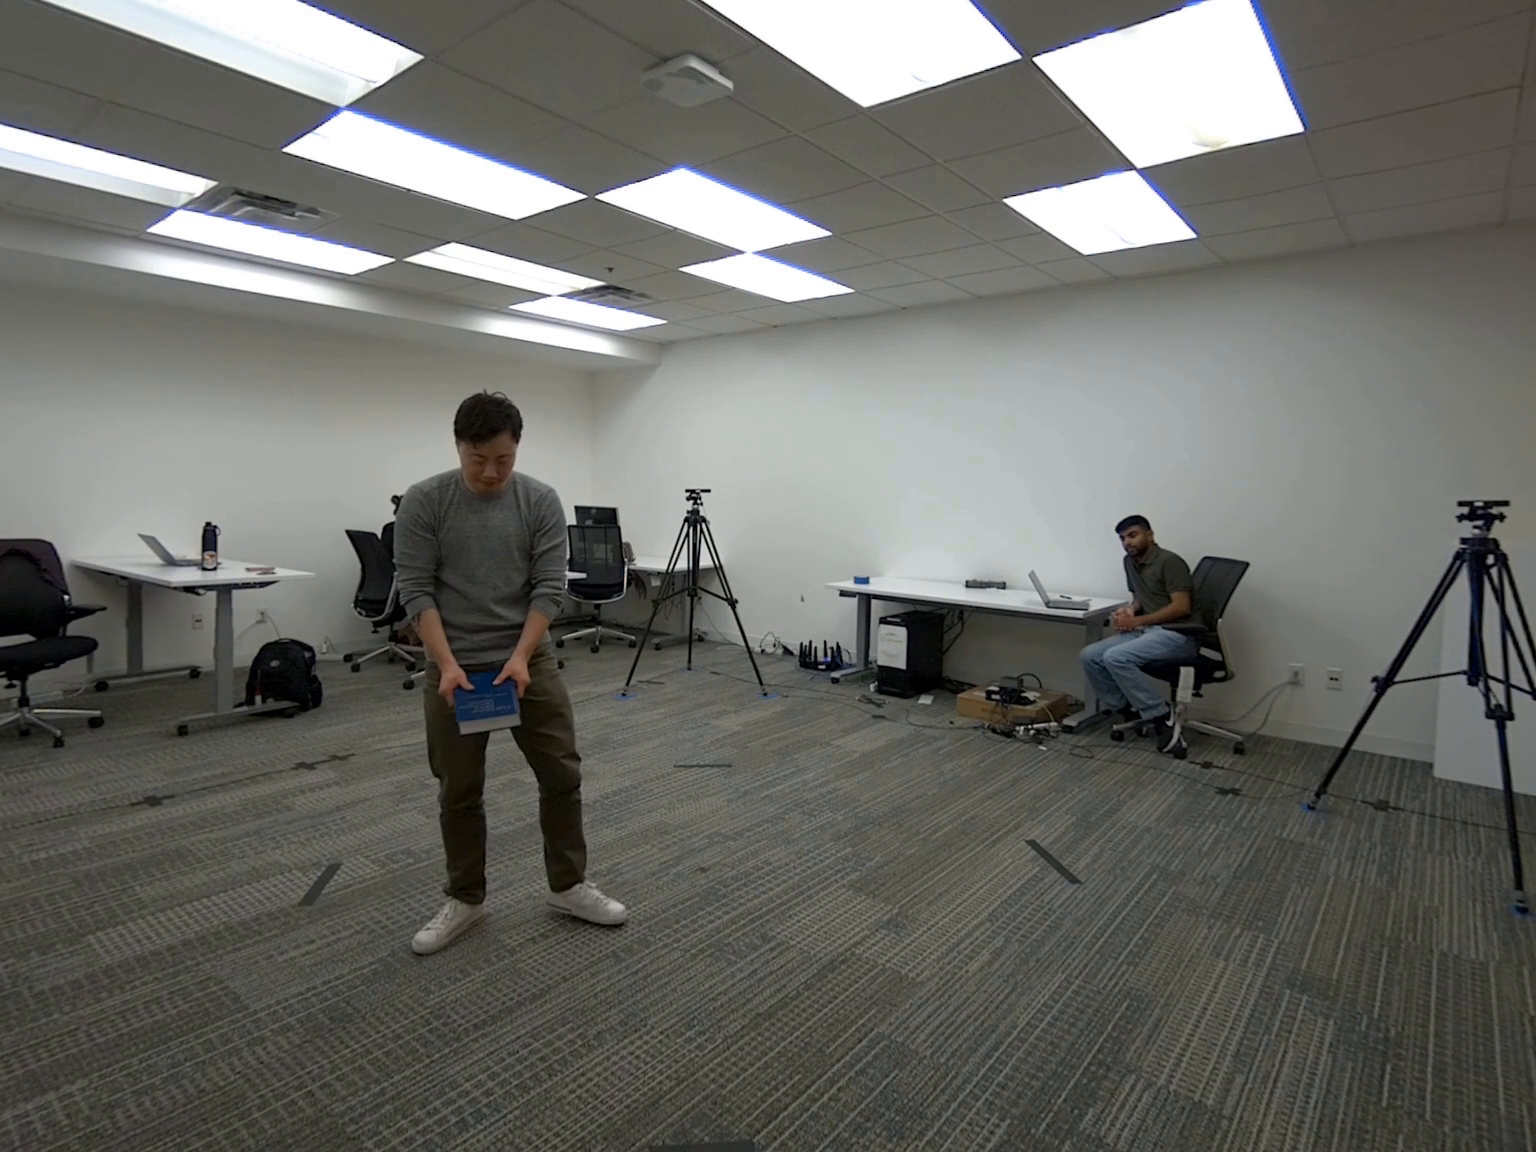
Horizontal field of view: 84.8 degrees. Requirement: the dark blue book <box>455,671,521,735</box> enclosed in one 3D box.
[{"bbox_3d":[-0.766,0.354,2.334,0.161,0.044,0.253,-6,23,-15],"label":"dark blue book"}]
